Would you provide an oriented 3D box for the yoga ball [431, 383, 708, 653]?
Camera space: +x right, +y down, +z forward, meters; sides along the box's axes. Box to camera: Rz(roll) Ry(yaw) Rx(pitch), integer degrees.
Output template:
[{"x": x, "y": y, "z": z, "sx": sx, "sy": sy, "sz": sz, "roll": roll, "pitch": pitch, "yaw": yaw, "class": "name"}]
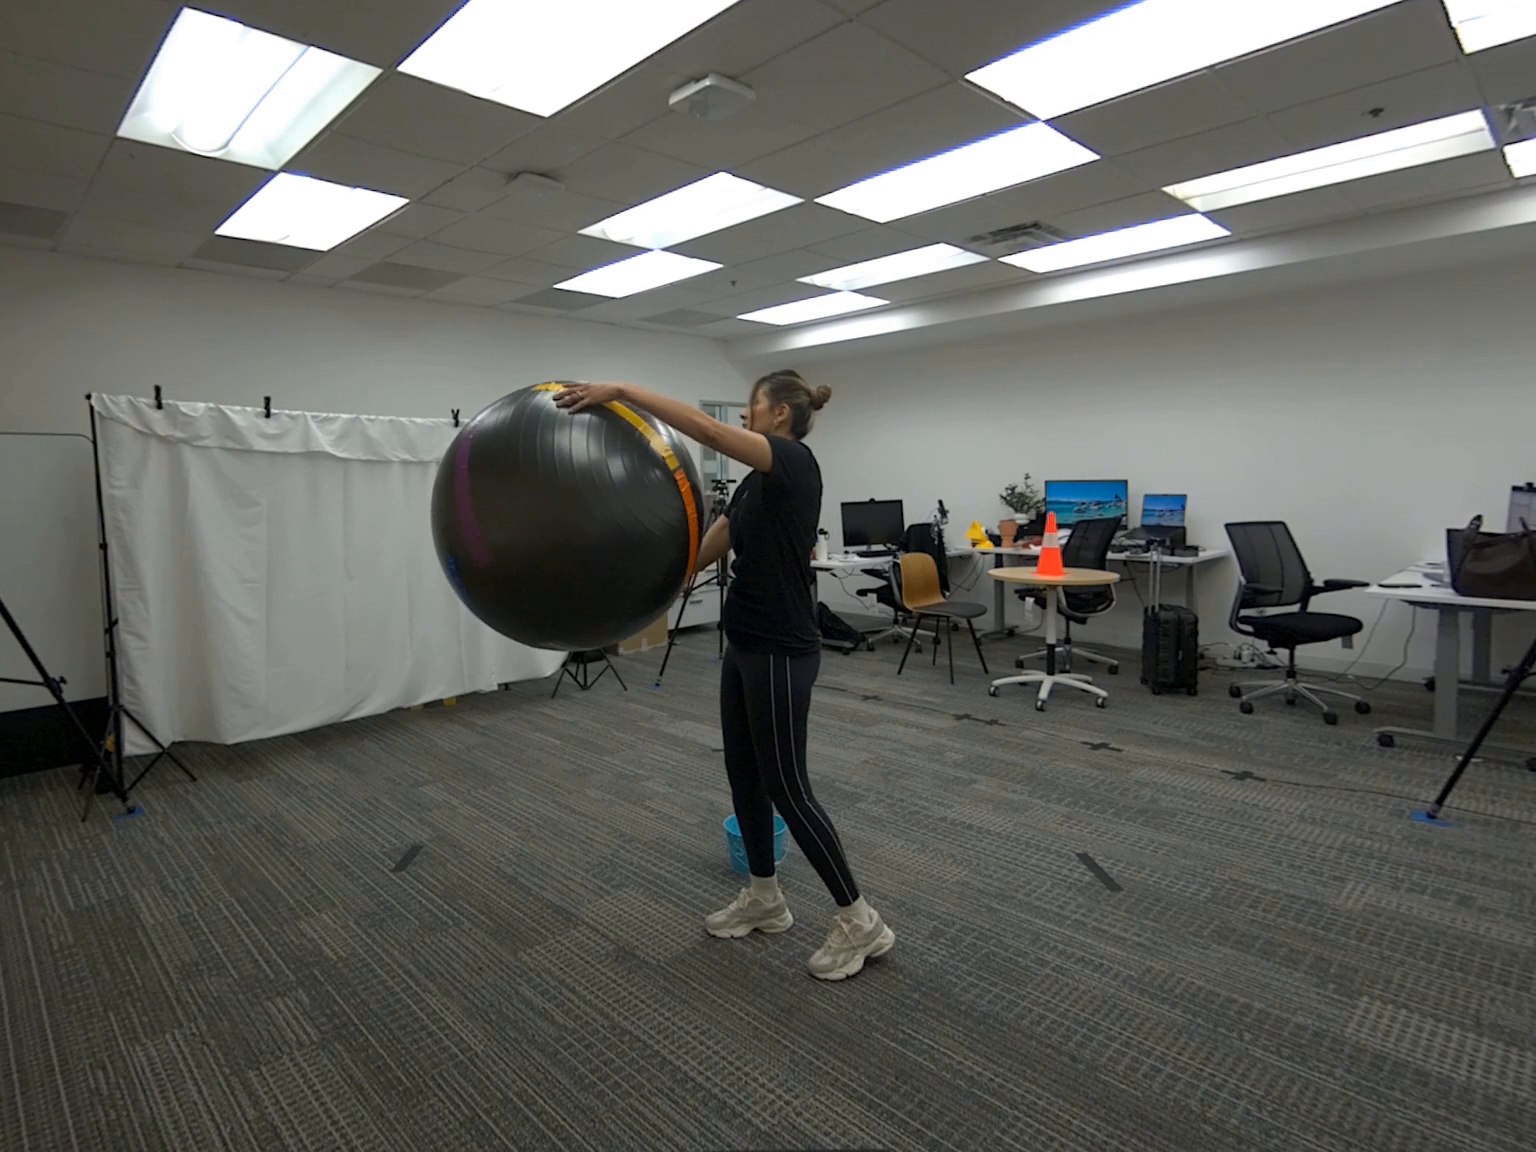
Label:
[{"x": -0.557, "y": -0.166, "z": 2.410, "sx": 0.757, "sy": 0.755, "sz": 0.762, "roll": -1, "pitch": 5, "yaw": -2, "class": "yoga ball"}]
